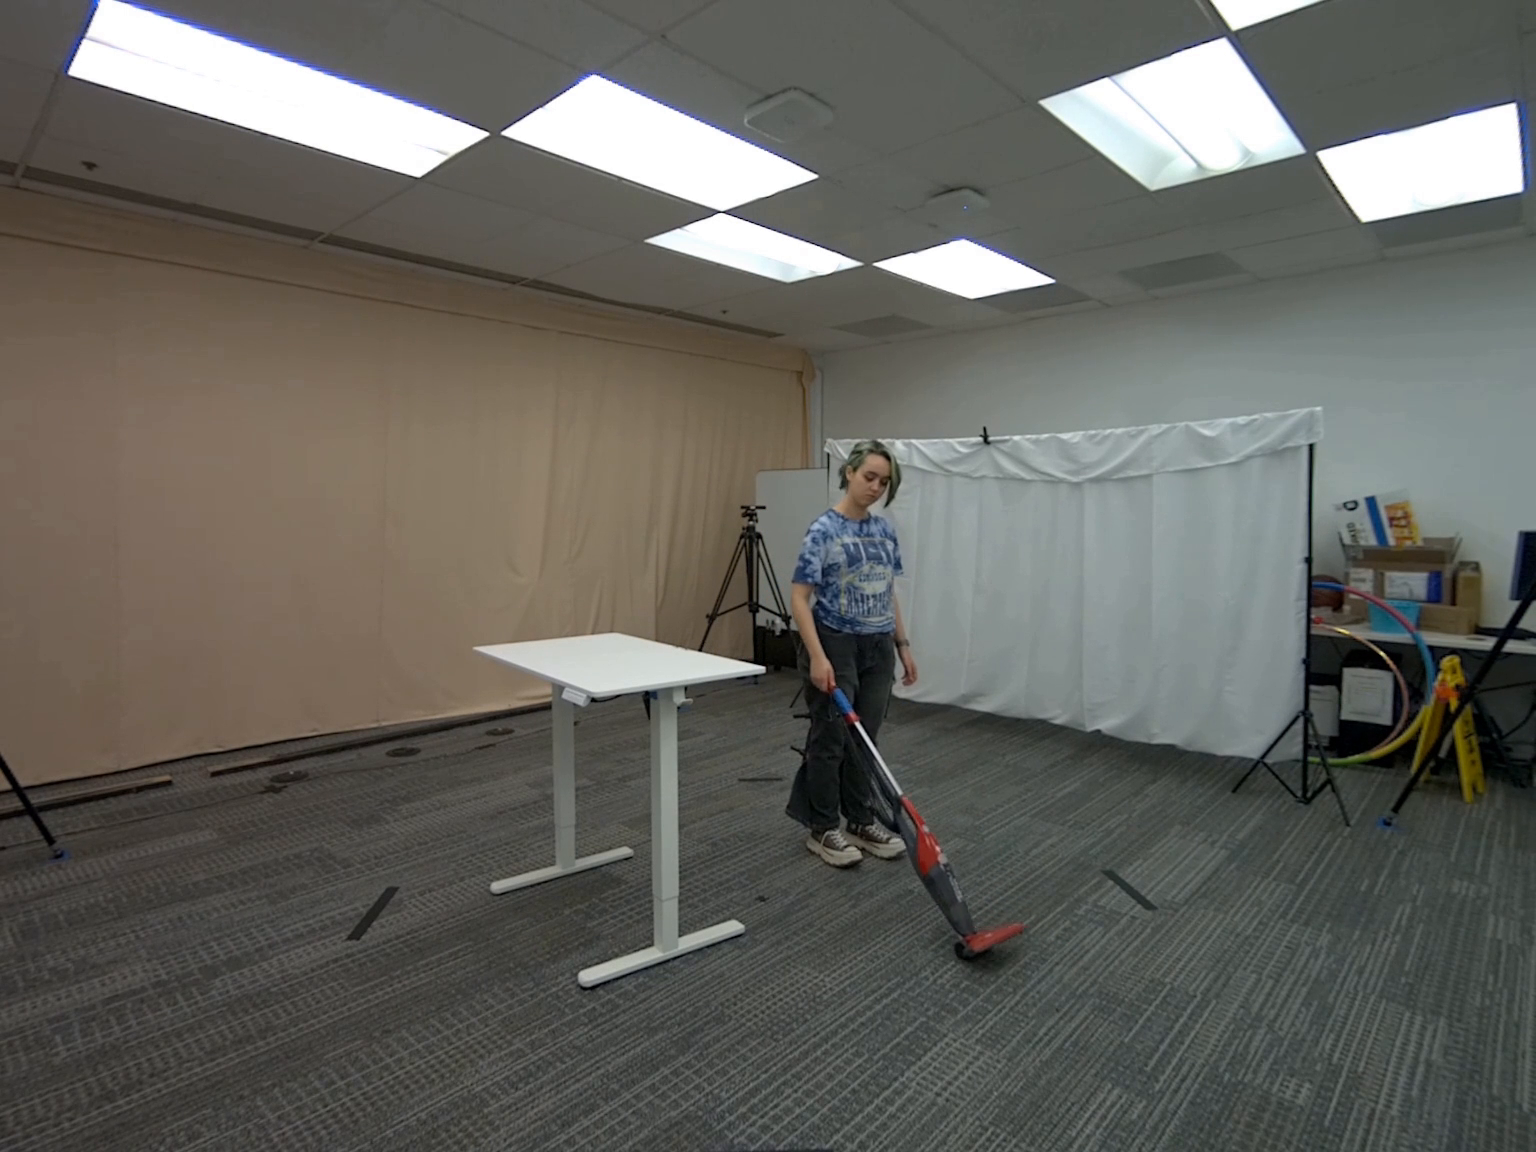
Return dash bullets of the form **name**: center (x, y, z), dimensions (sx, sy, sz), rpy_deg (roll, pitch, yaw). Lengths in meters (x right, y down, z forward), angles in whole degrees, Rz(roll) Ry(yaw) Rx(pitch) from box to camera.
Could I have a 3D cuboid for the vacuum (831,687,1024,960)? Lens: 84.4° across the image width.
- **vacuum**: center (0.441, 0.775, 2.875), dimensions (0.245, 0.144, 1.083), rpy_deg (-1, 43, -40)
